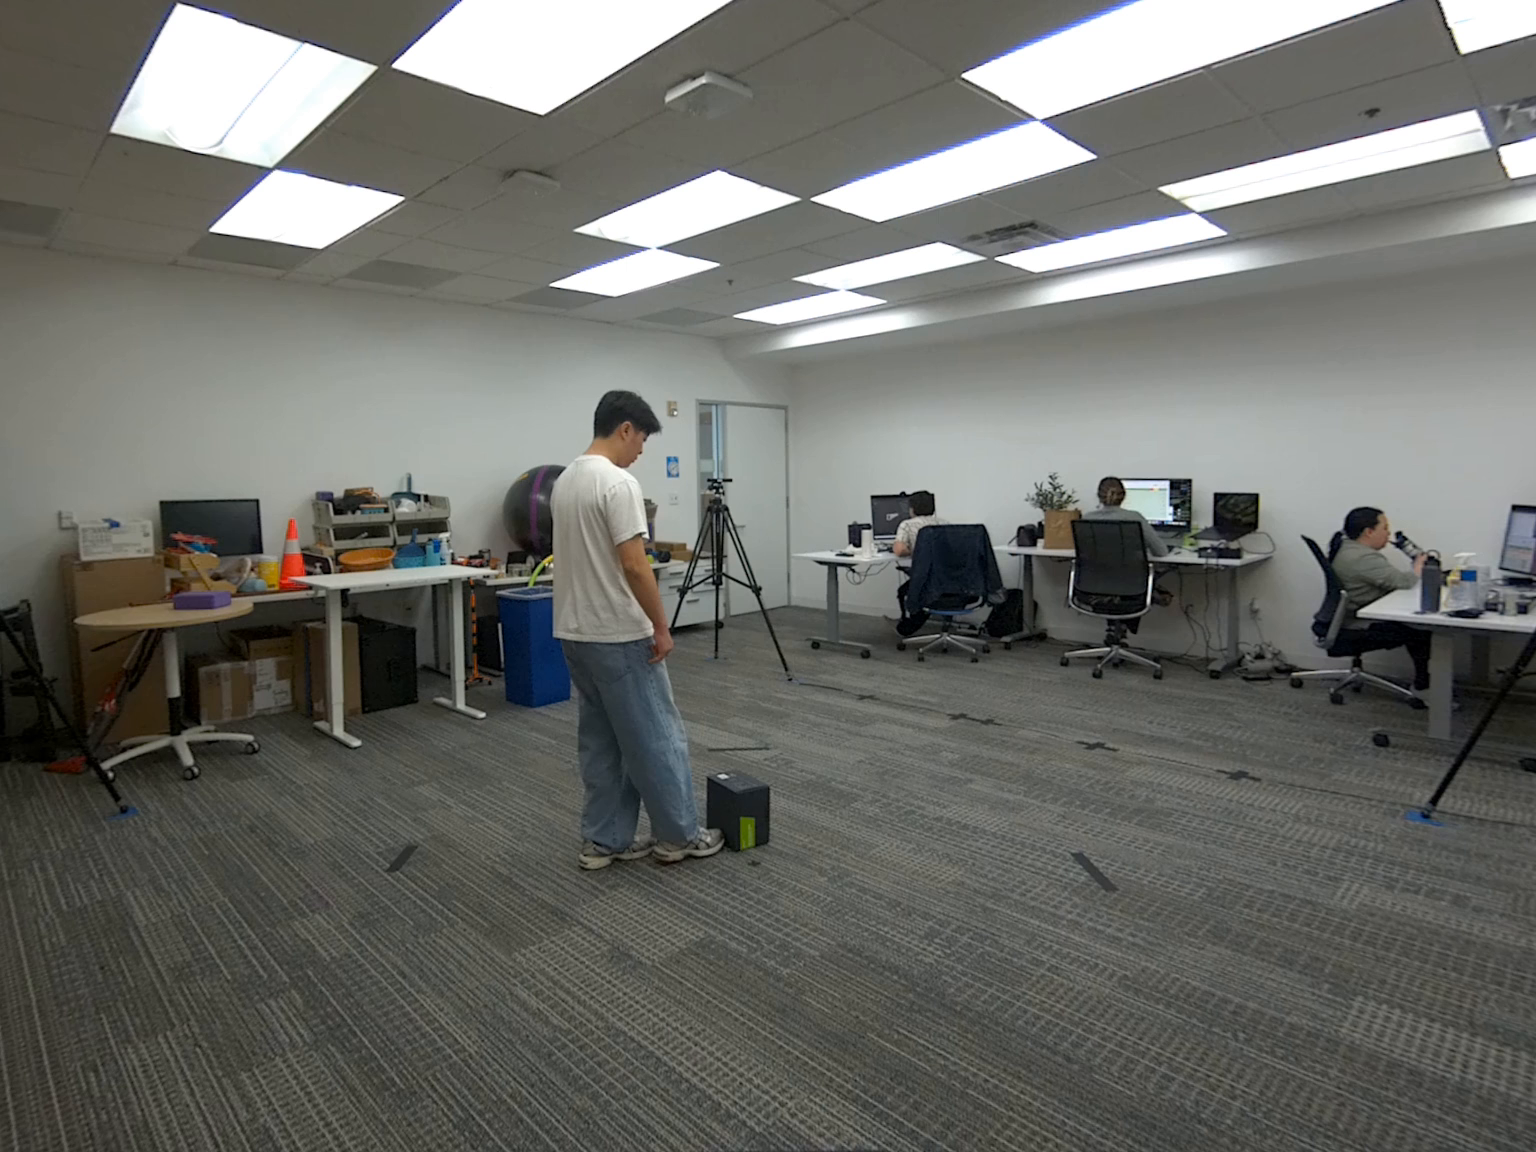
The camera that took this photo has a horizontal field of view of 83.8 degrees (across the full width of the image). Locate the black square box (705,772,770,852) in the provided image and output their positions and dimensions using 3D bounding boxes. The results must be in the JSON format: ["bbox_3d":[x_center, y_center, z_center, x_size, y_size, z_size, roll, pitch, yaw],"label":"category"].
[{"bbox_3d":[-0.114,0.903,3.318,0.152,0.227,0.223,-3,5,-35],"label":"black square box"}]
